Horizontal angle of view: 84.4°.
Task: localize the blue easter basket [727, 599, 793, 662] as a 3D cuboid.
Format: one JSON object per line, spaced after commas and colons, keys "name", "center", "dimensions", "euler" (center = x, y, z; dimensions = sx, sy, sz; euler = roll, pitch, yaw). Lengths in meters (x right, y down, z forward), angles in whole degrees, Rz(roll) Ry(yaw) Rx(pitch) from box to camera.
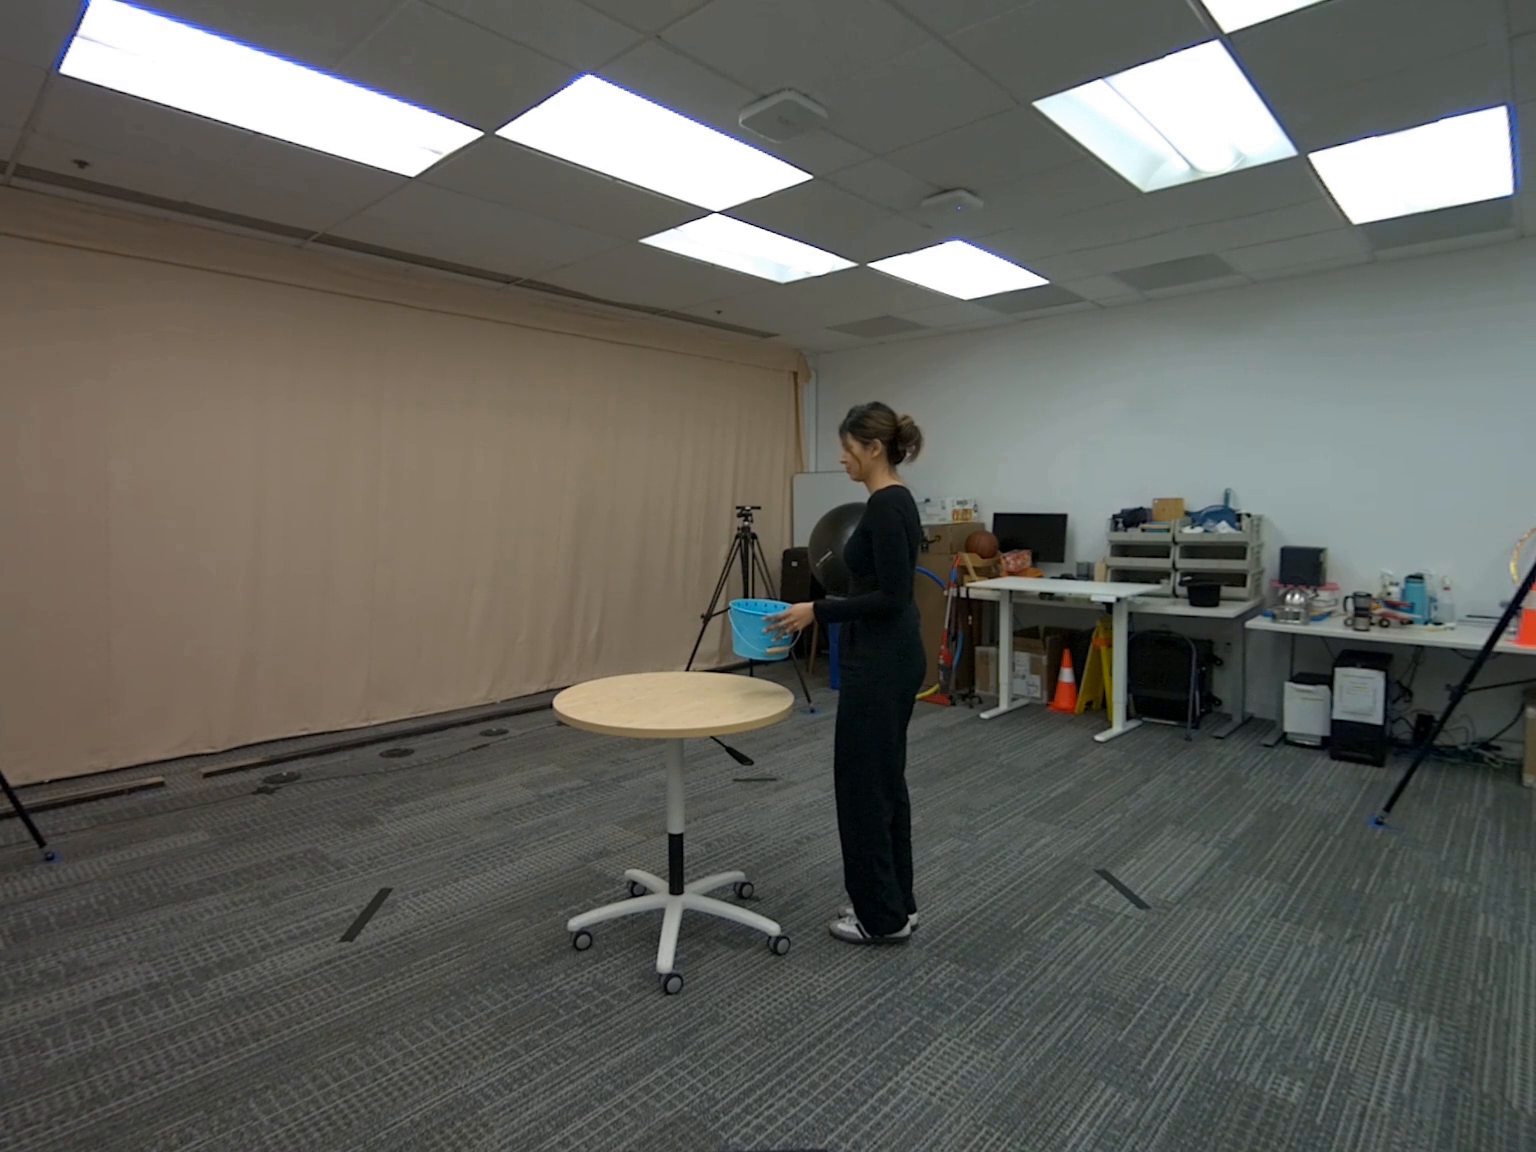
{"name": "blue easter basket", "center": [0.001, 0.179, 2.698], "dimensions": [0.243, 0.155, 0.245], "euler": [4, 7, -2]}
